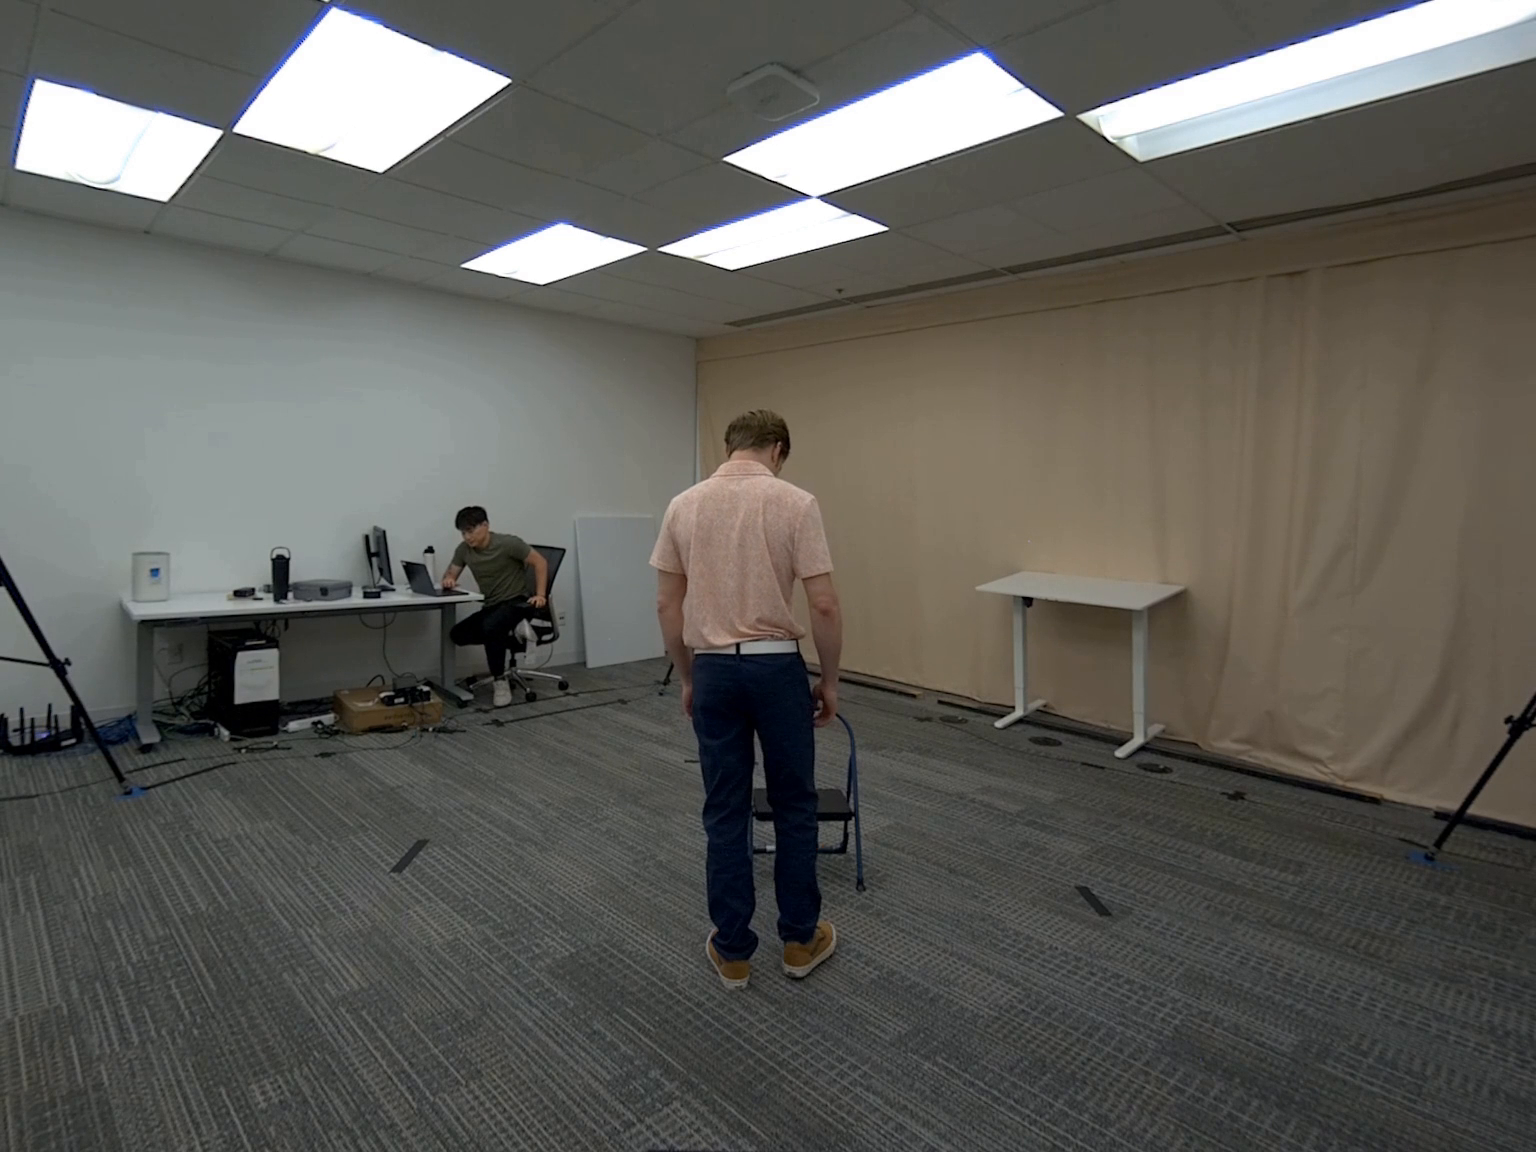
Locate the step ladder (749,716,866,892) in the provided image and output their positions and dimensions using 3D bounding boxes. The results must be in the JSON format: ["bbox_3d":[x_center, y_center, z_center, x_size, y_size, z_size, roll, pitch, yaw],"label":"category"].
[{"bbox_3d":[0.125,0.804,3.153,0.429,0.605,0.351,1,2,-4],"label":"step ladder"}]
